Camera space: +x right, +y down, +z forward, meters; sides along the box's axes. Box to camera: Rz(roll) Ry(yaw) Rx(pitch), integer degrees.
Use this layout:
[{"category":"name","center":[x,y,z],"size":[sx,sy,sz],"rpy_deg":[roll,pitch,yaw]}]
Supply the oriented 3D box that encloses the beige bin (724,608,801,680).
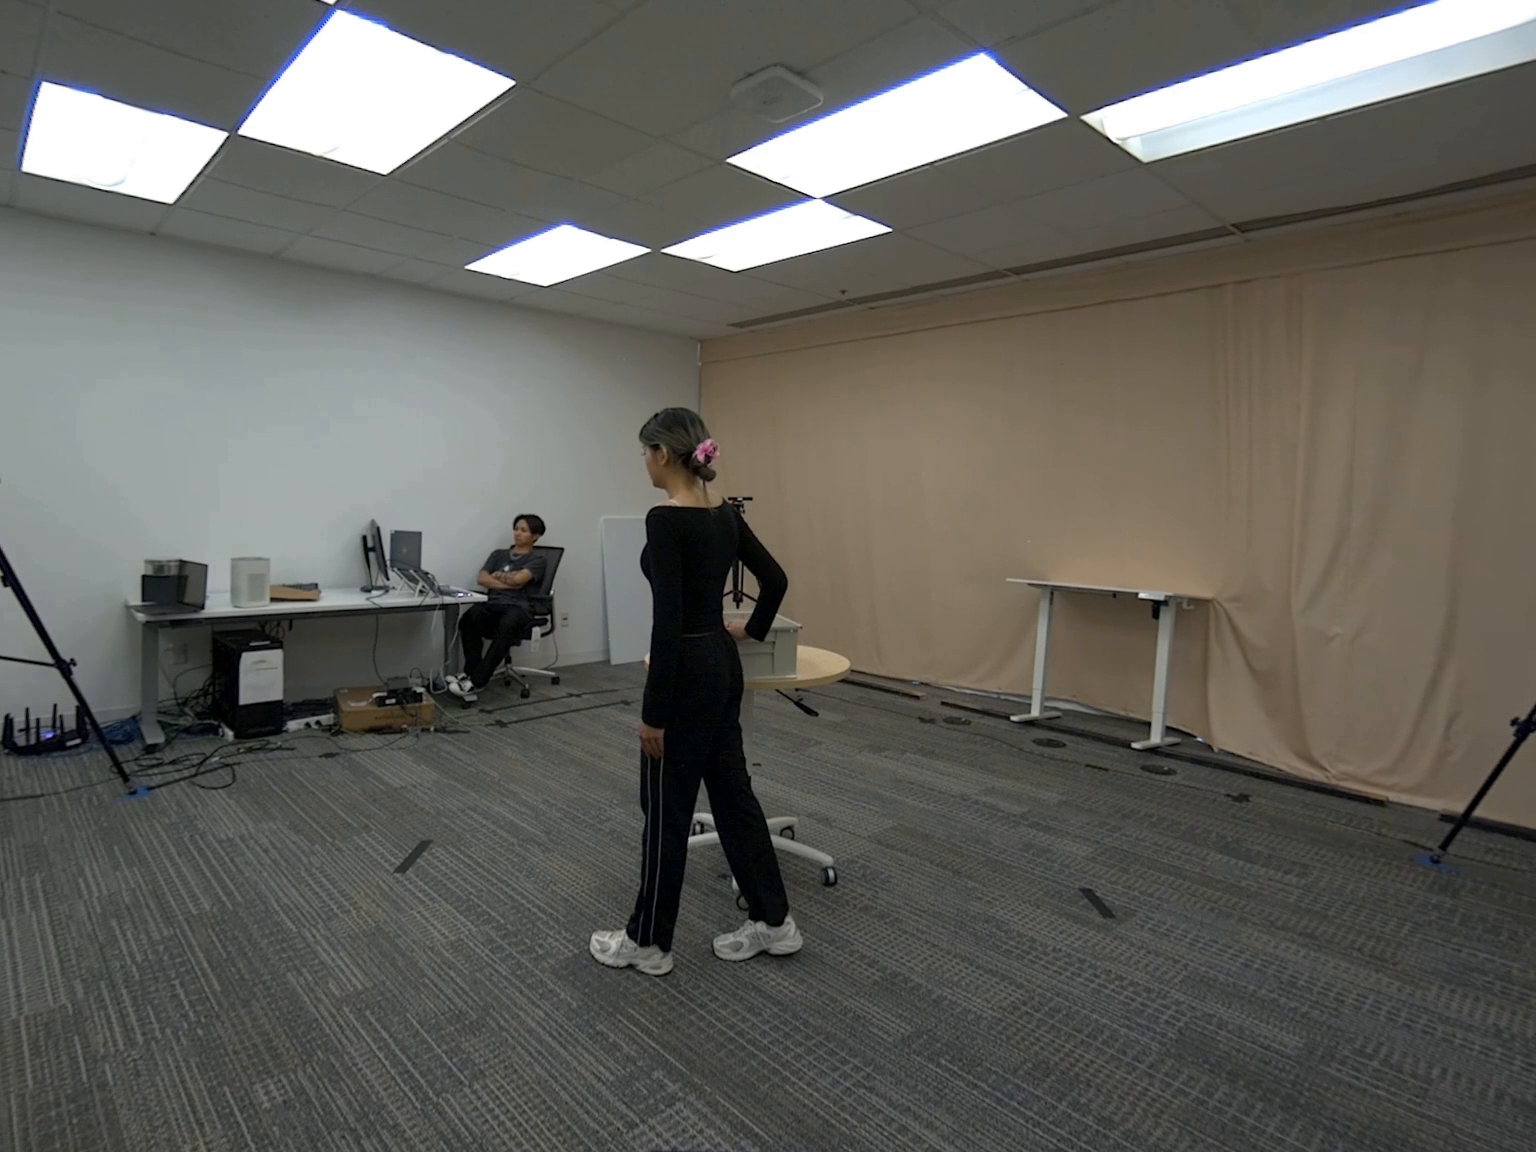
[{"category":"beige bin","center":[-0.132,0.238,2.980],"size":[0.373,0.188,0.429],"rpy_deg":[1,5,-16]}]
